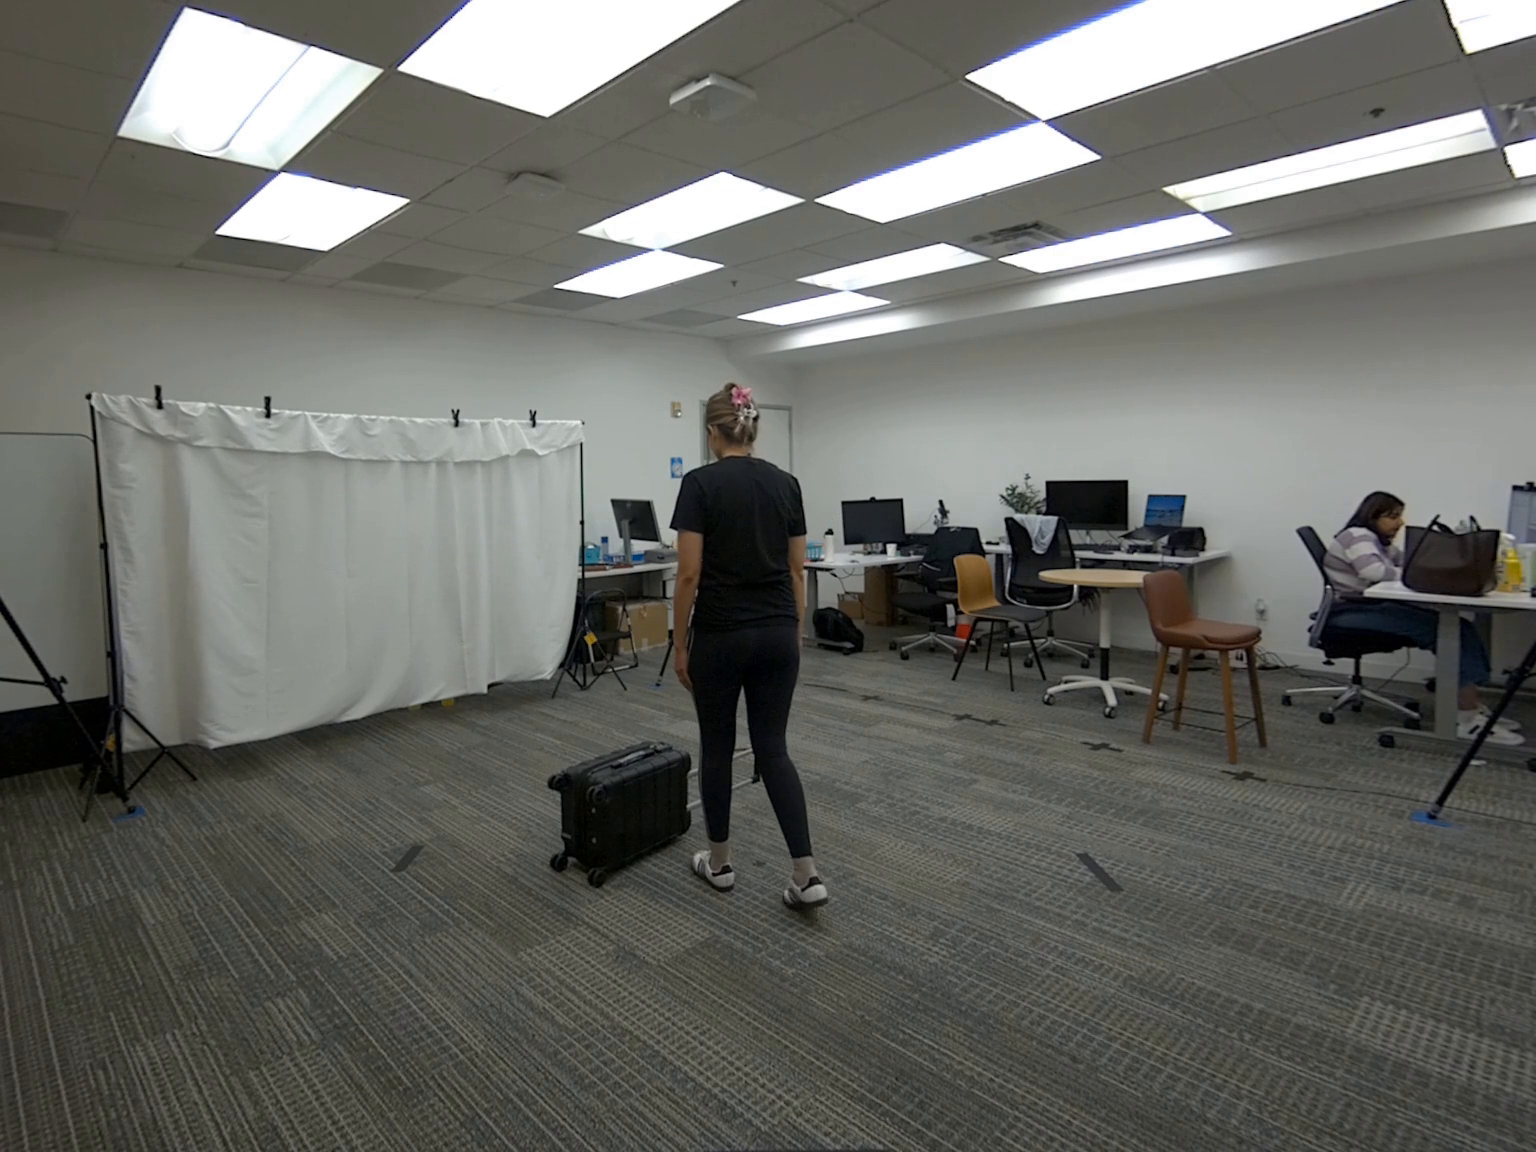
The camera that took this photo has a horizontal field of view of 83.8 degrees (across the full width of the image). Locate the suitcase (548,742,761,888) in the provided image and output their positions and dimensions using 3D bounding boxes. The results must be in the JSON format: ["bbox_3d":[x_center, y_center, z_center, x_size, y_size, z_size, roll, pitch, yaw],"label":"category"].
[{"bbox_3d":[-0.415,0.835,3.376,0.264,0.382,0.955,3,7,36],"label":"suitcase"}]
